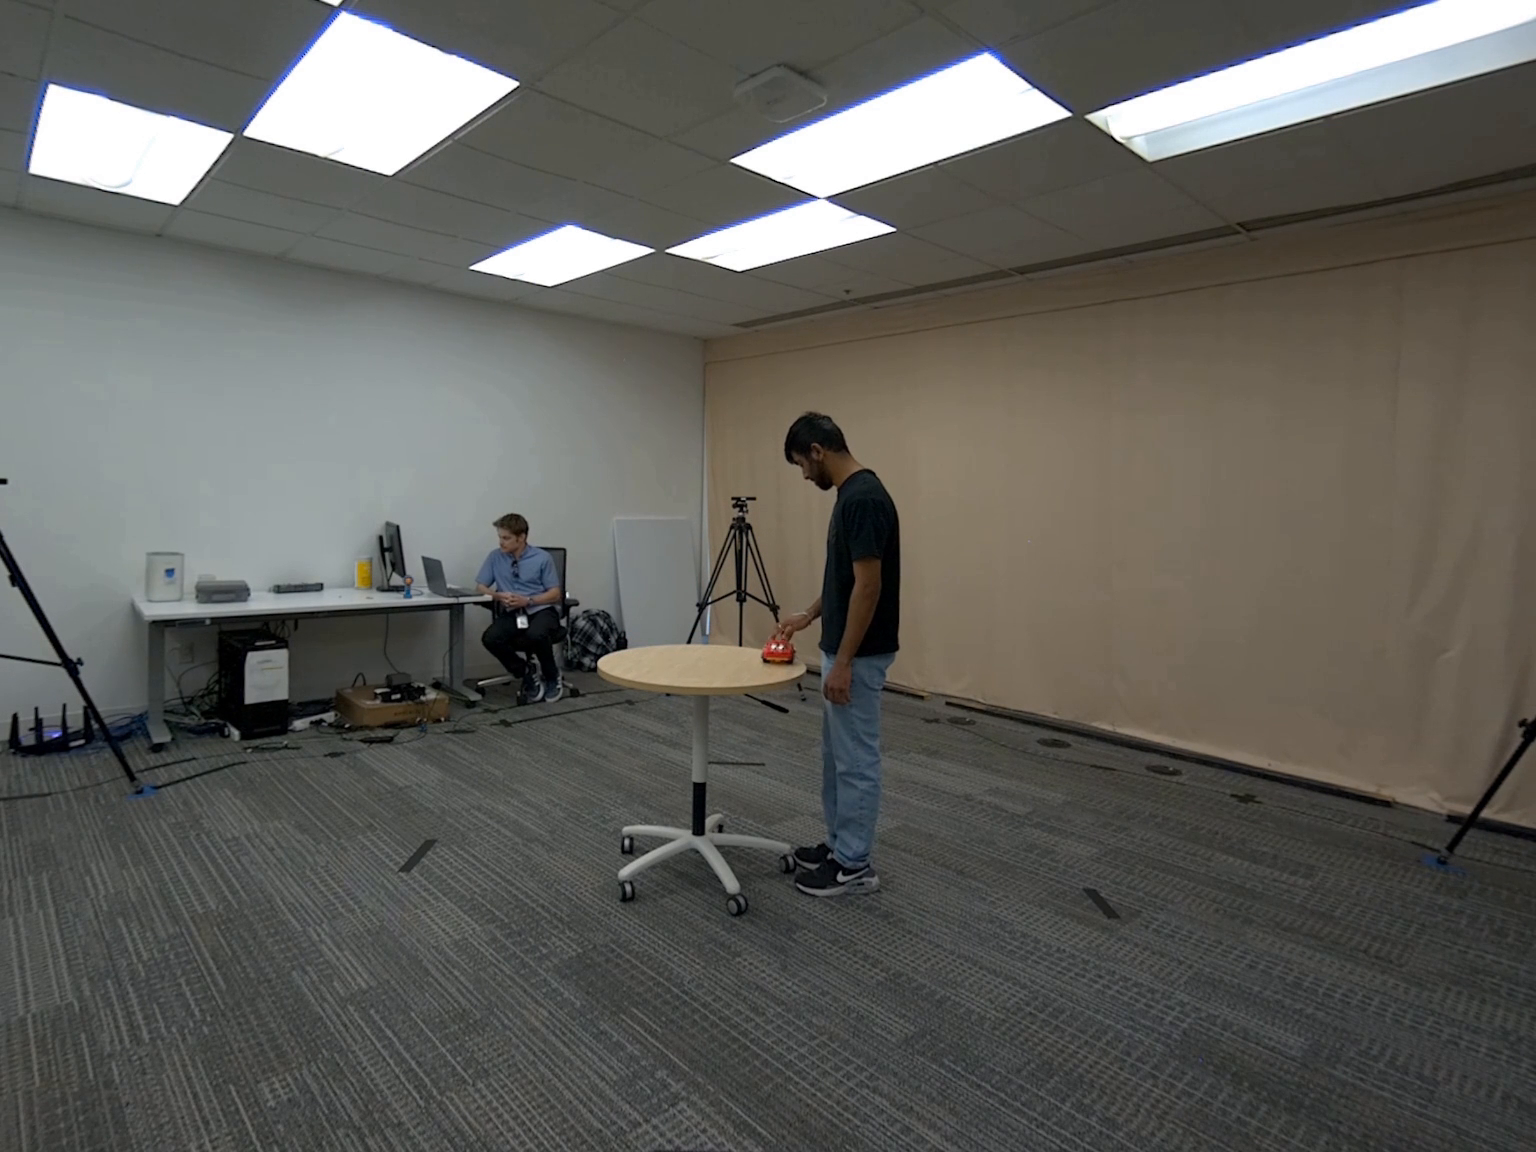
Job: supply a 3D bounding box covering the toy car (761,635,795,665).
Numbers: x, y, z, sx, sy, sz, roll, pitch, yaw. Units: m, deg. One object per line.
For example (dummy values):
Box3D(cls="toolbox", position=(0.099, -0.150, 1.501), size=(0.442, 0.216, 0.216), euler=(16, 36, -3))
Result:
Box3D(cls="toy car", position=(0.029, 0.291, 3.193), size=(0.131, 0.083, 0.252), euler=(2, -5, 3))
